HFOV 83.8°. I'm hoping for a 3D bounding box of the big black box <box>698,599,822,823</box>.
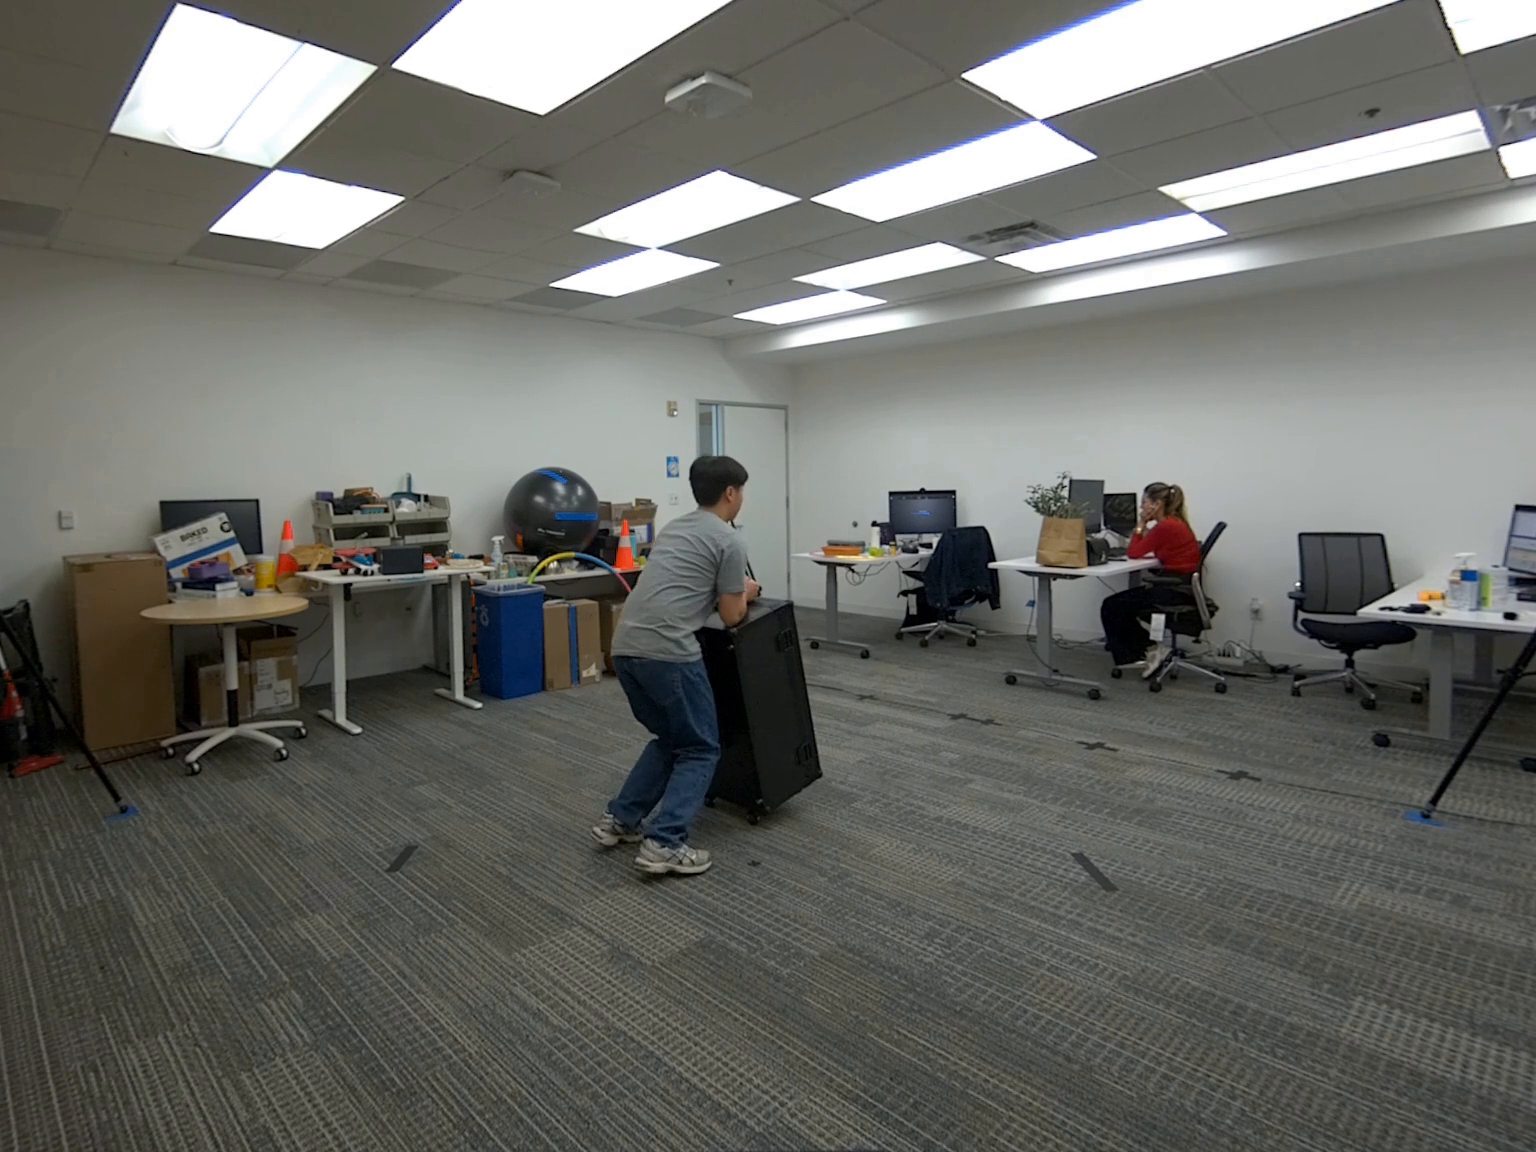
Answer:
[{"bbox_3d":[-0.119,0.546,3.586,0.537,0.850,0.389,4,19,46],"label":"big black box"}]
